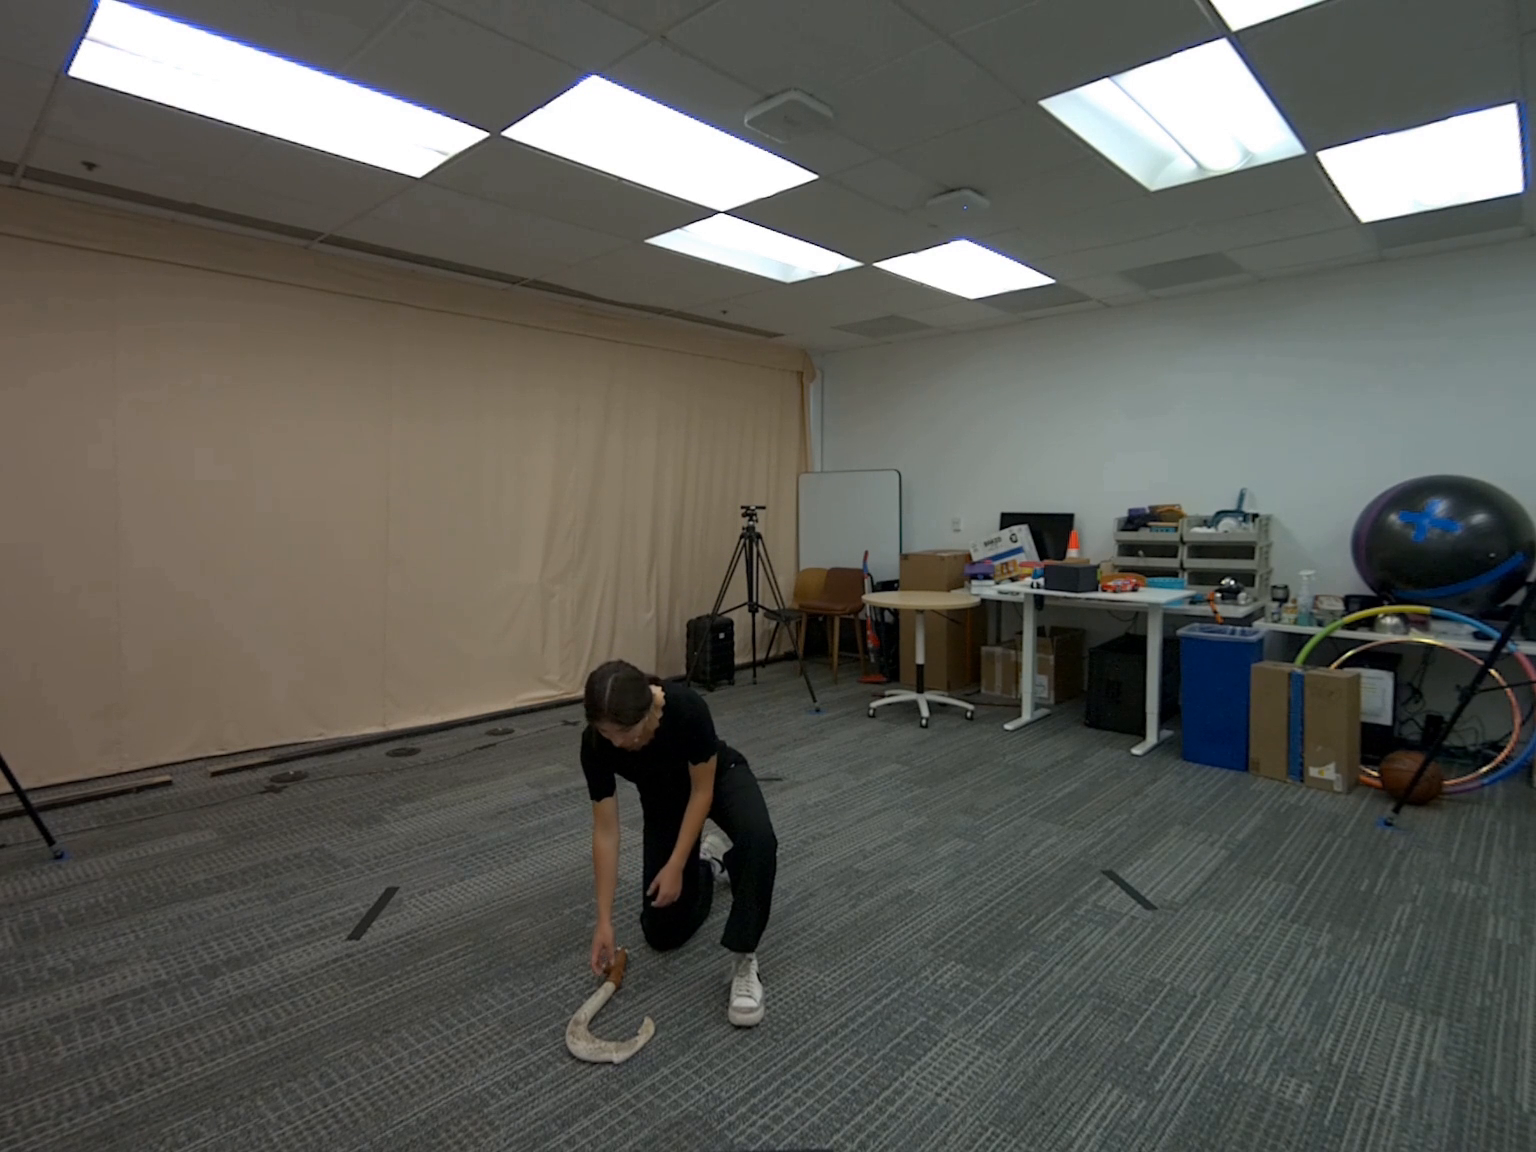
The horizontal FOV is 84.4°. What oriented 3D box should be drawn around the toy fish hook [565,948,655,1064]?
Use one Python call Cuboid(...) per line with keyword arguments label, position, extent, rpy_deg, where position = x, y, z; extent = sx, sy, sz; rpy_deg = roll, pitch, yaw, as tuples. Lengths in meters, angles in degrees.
Cuboid(label="toy fish hook", position=(-0.401, 1.172, 2.355), extent=(0.225, 0.048, 0.506), rpy_deg=(7, 5, 2))
